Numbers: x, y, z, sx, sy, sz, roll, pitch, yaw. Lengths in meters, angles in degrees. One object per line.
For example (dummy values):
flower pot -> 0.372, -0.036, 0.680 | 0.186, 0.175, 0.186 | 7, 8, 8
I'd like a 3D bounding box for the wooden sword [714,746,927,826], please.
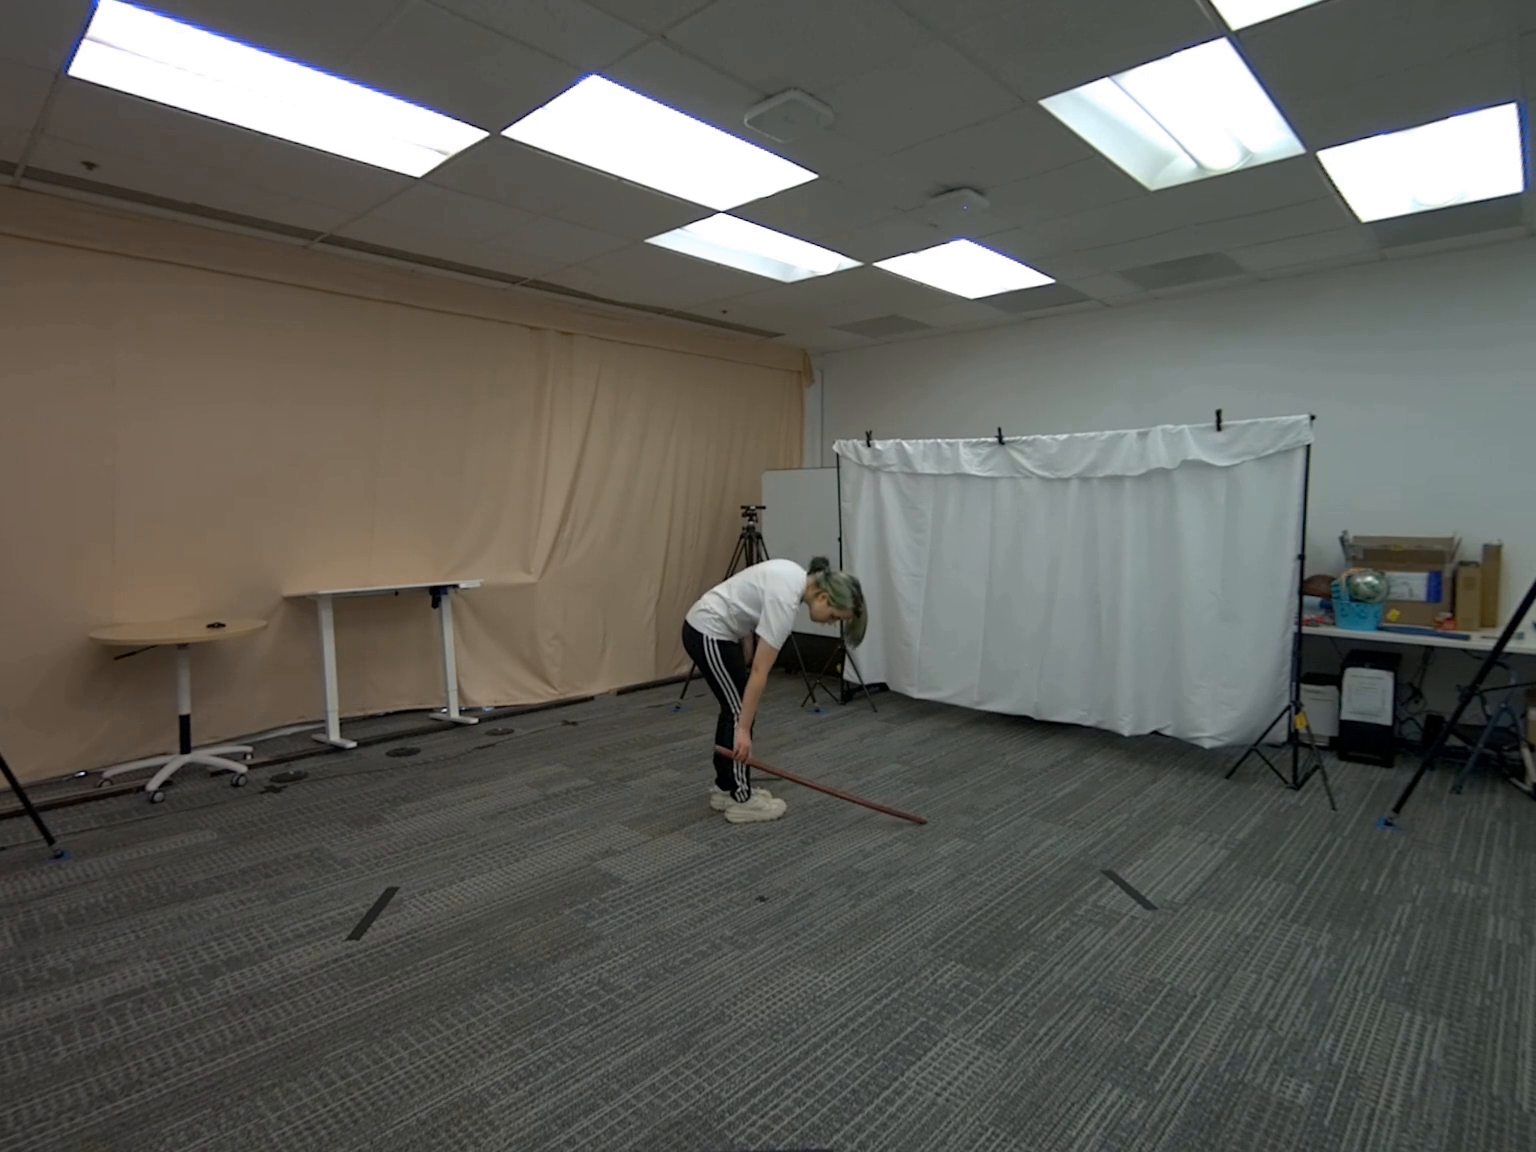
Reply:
wooden sword -> 0.249, 0.915, 3.580 | 1.008, 0.024, 0.052 | 21, -6, -13
